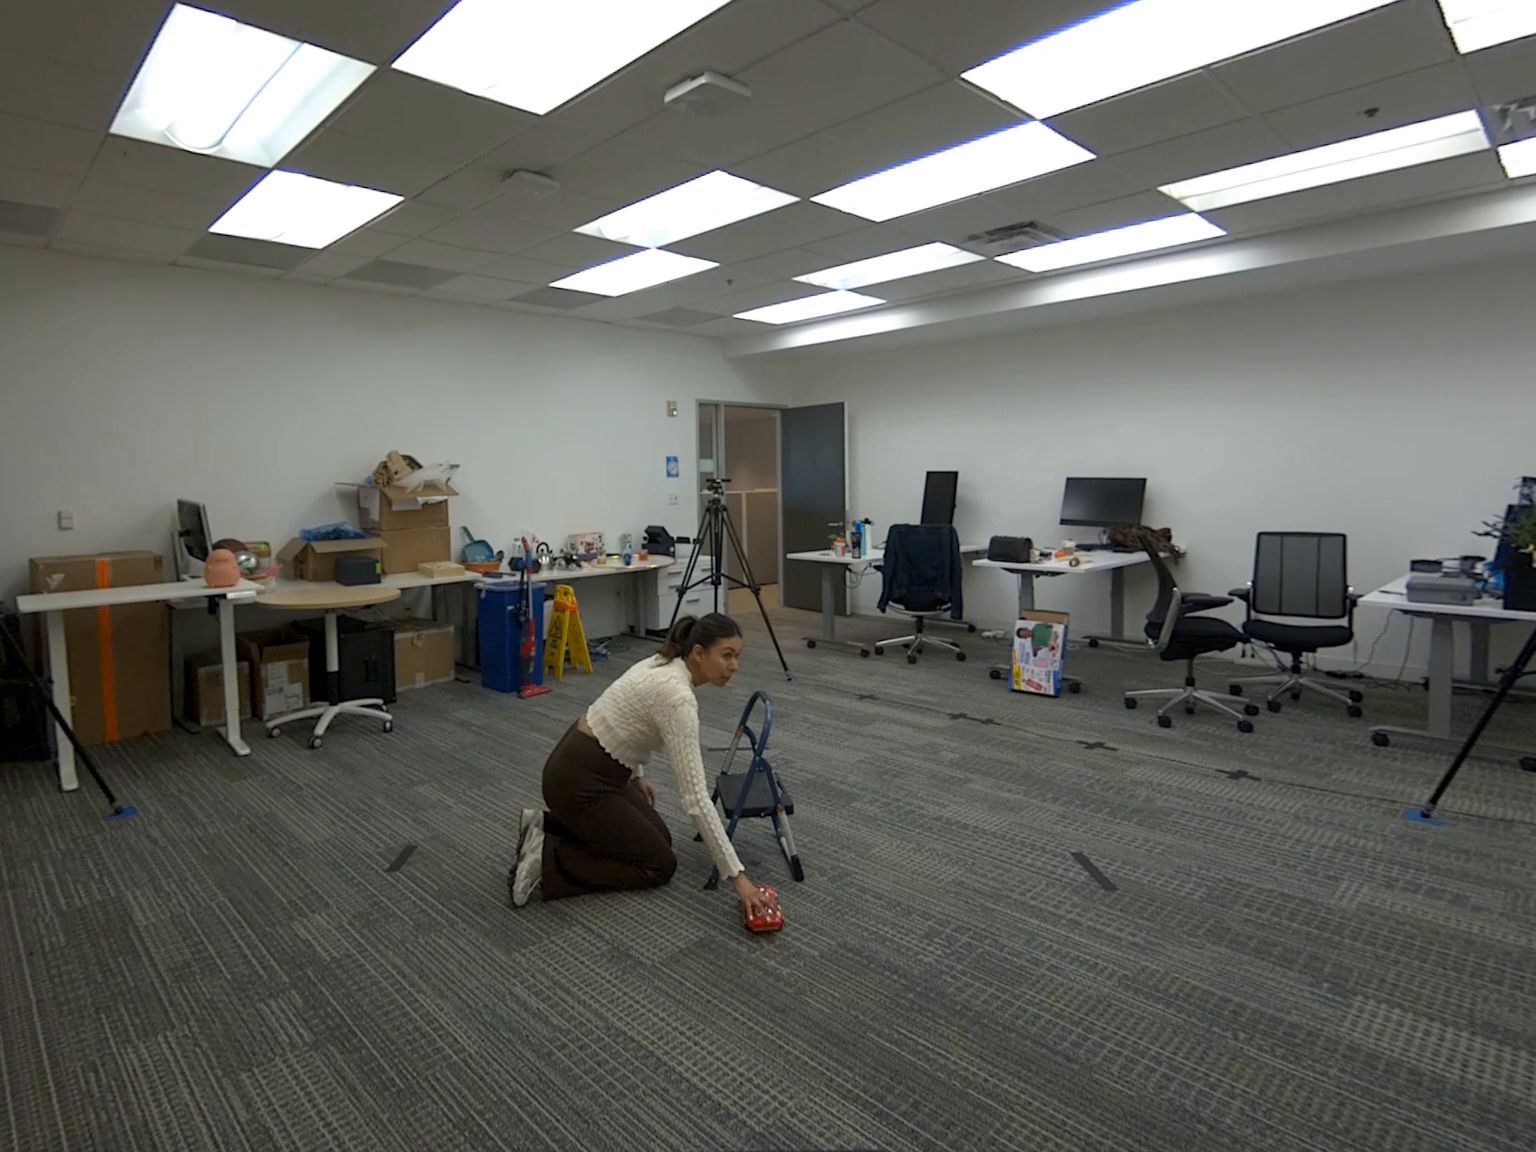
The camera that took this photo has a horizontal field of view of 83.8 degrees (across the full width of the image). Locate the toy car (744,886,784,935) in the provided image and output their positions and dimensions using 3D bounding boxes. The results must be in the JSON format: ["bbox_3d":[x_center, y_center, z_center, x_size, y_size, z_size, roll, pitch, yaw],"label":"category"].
[{"bbox_3d":[-0.024,1.061,2.711,0.130,0.083,0.254,-2,-4,-4],"label":"toy car"}]
